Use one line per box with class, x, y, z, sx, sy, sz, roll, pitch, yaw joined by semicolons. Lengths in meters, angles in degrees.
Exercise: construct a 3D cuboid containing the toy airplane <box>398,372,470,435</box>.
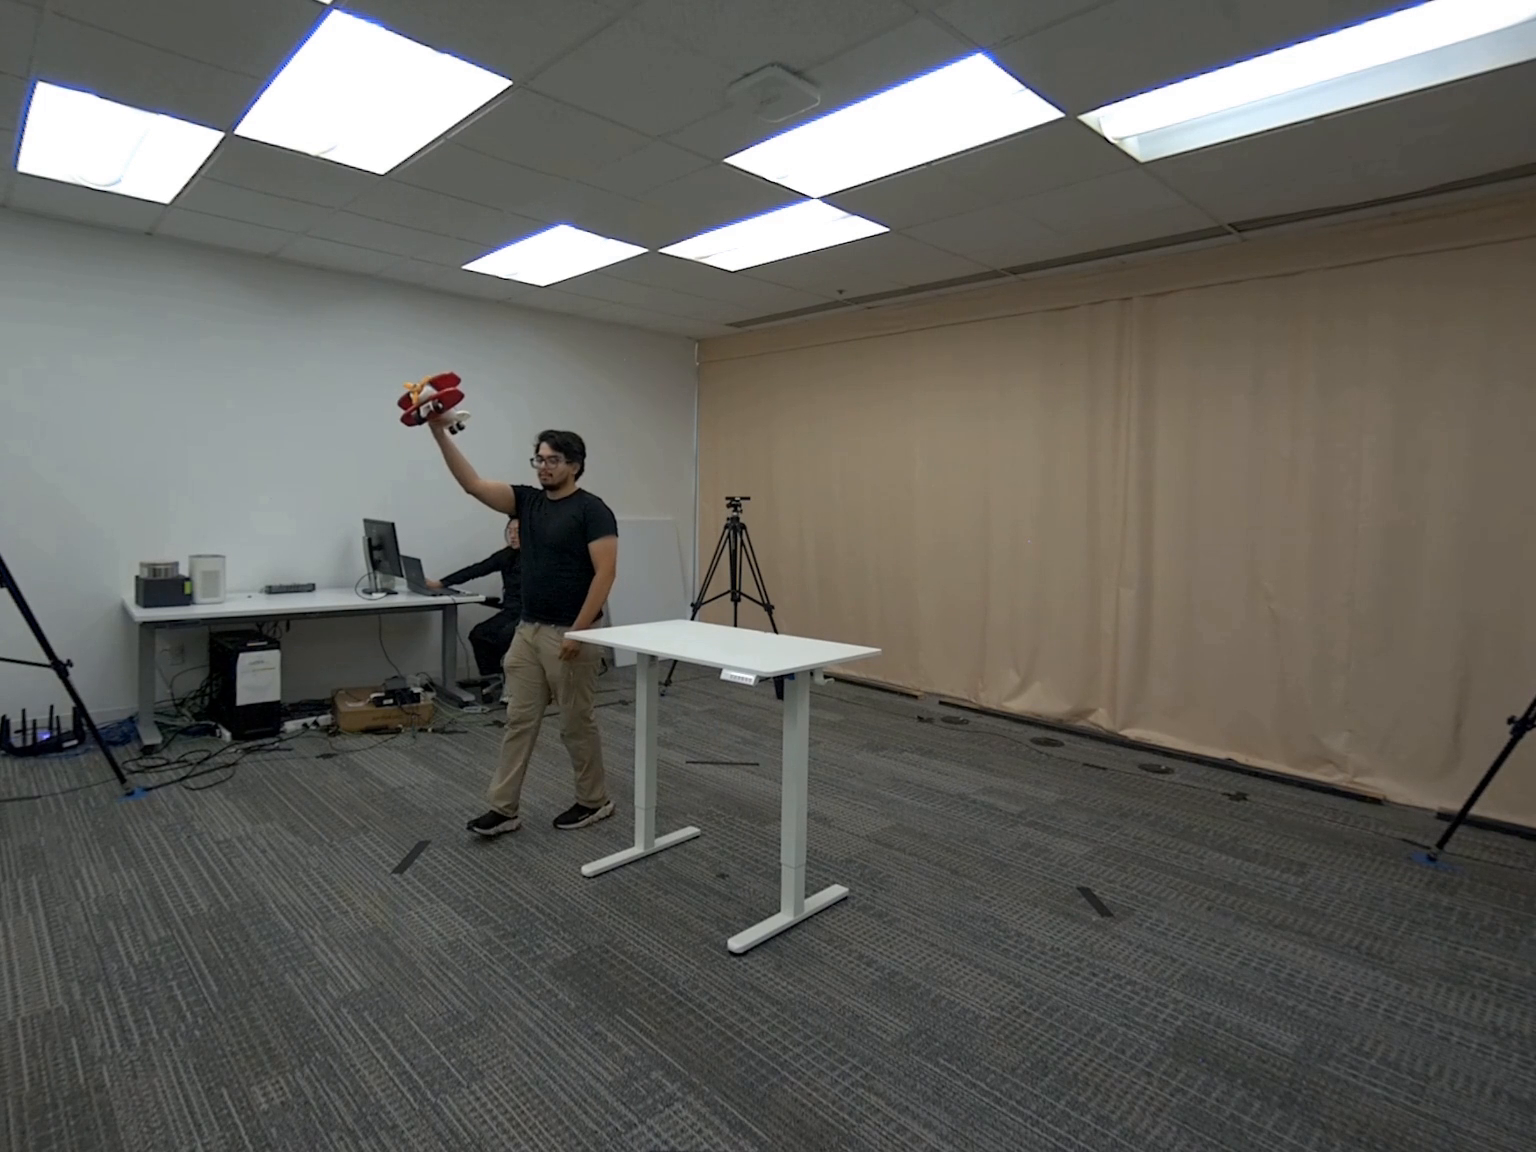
toy airplane;-1.255;-0.622;3.128;0.249;0.158;0.258;-20;-12;-18
